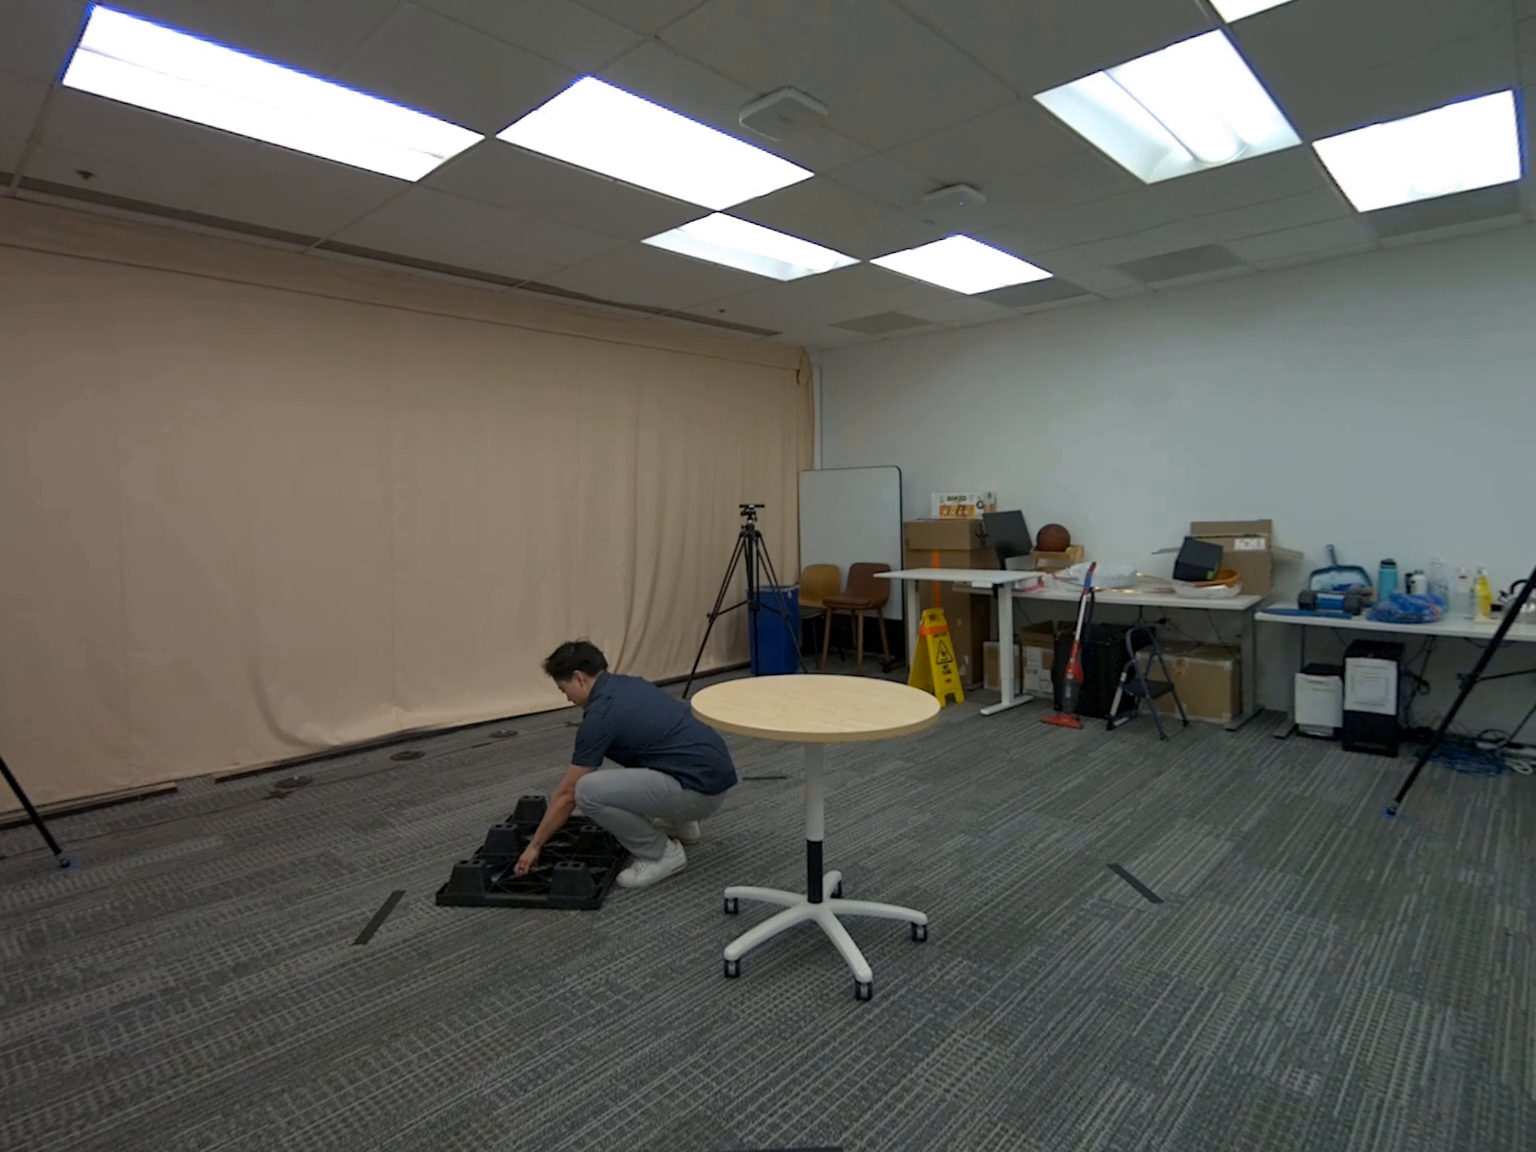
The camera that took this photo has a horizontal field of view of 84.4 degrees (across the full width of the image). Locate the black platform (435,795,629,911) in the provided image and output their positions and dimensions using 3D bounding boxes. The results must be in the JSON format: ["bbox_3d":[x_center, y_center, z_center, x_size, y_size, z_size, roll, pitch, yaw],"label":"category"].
[{"bbox_3d":[-0.872,1.060,3.336,0.609,0.143,0.803,0,5,4],"label":"black platform"}]
